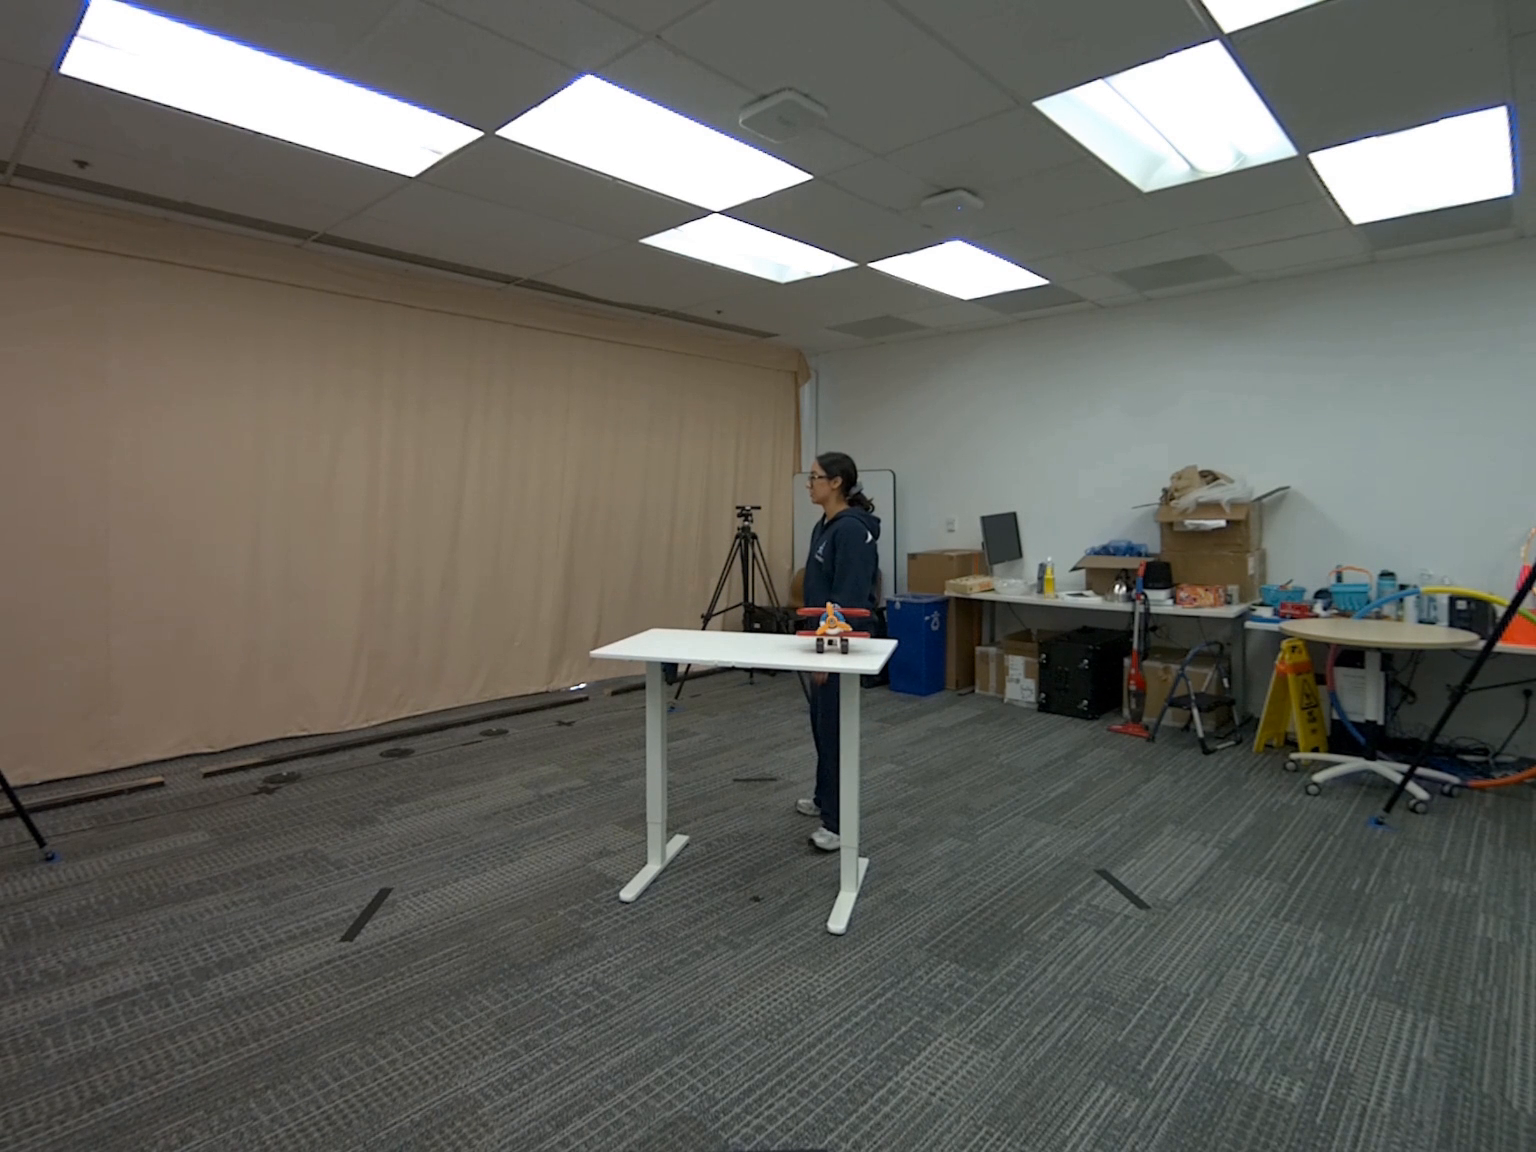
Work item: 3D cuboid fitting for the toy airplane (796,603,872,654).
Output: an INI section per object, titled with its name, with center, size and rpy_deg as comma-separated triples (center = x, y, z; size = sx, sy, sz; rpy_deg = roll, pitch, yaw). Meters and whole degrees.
[toy airplane]
center = 0.235, 0.182, 2.996
size = 0.247, 0.156, 0.264
rpy_deg = -3, 5, -17
